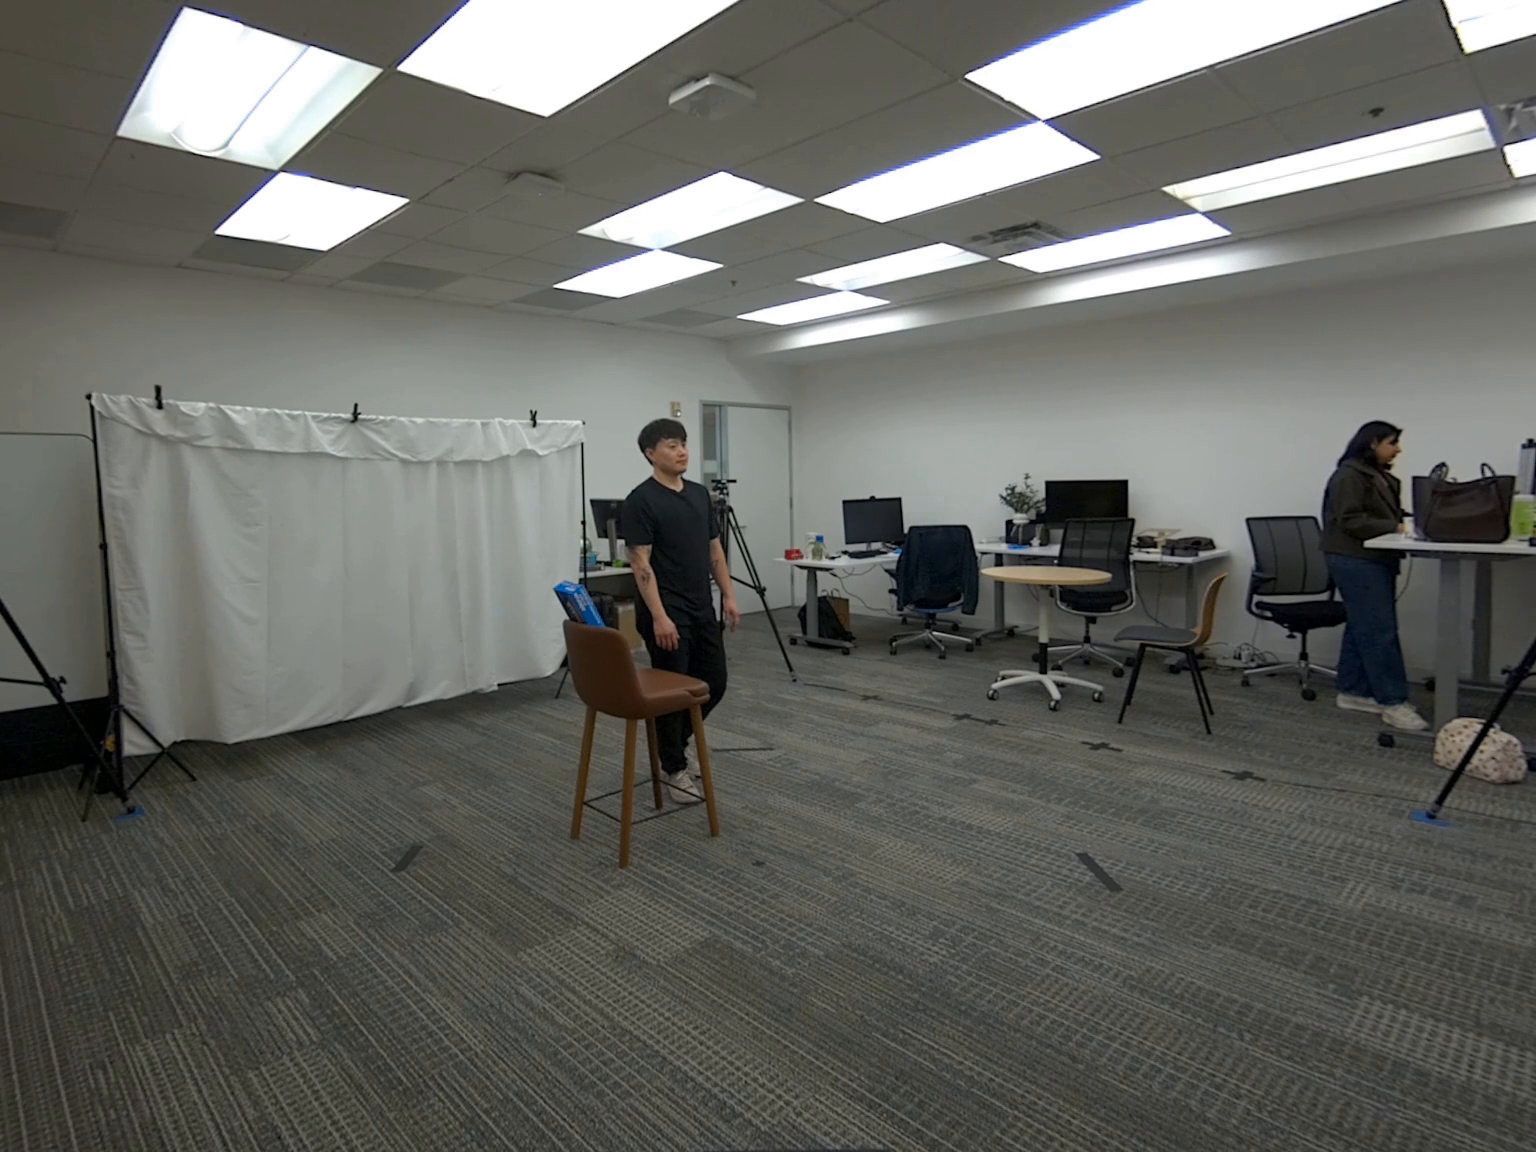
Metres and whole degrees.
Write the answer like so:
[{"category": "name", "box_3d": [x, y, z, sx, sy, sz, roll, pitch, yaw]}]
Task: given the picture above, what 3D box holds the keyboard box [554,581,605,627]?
[{"category": "keyboard box", "box_3d": [-0.674, 0.226, 3.280, 0.059, 0.427, 0.181, -33, 21, -24]}]
